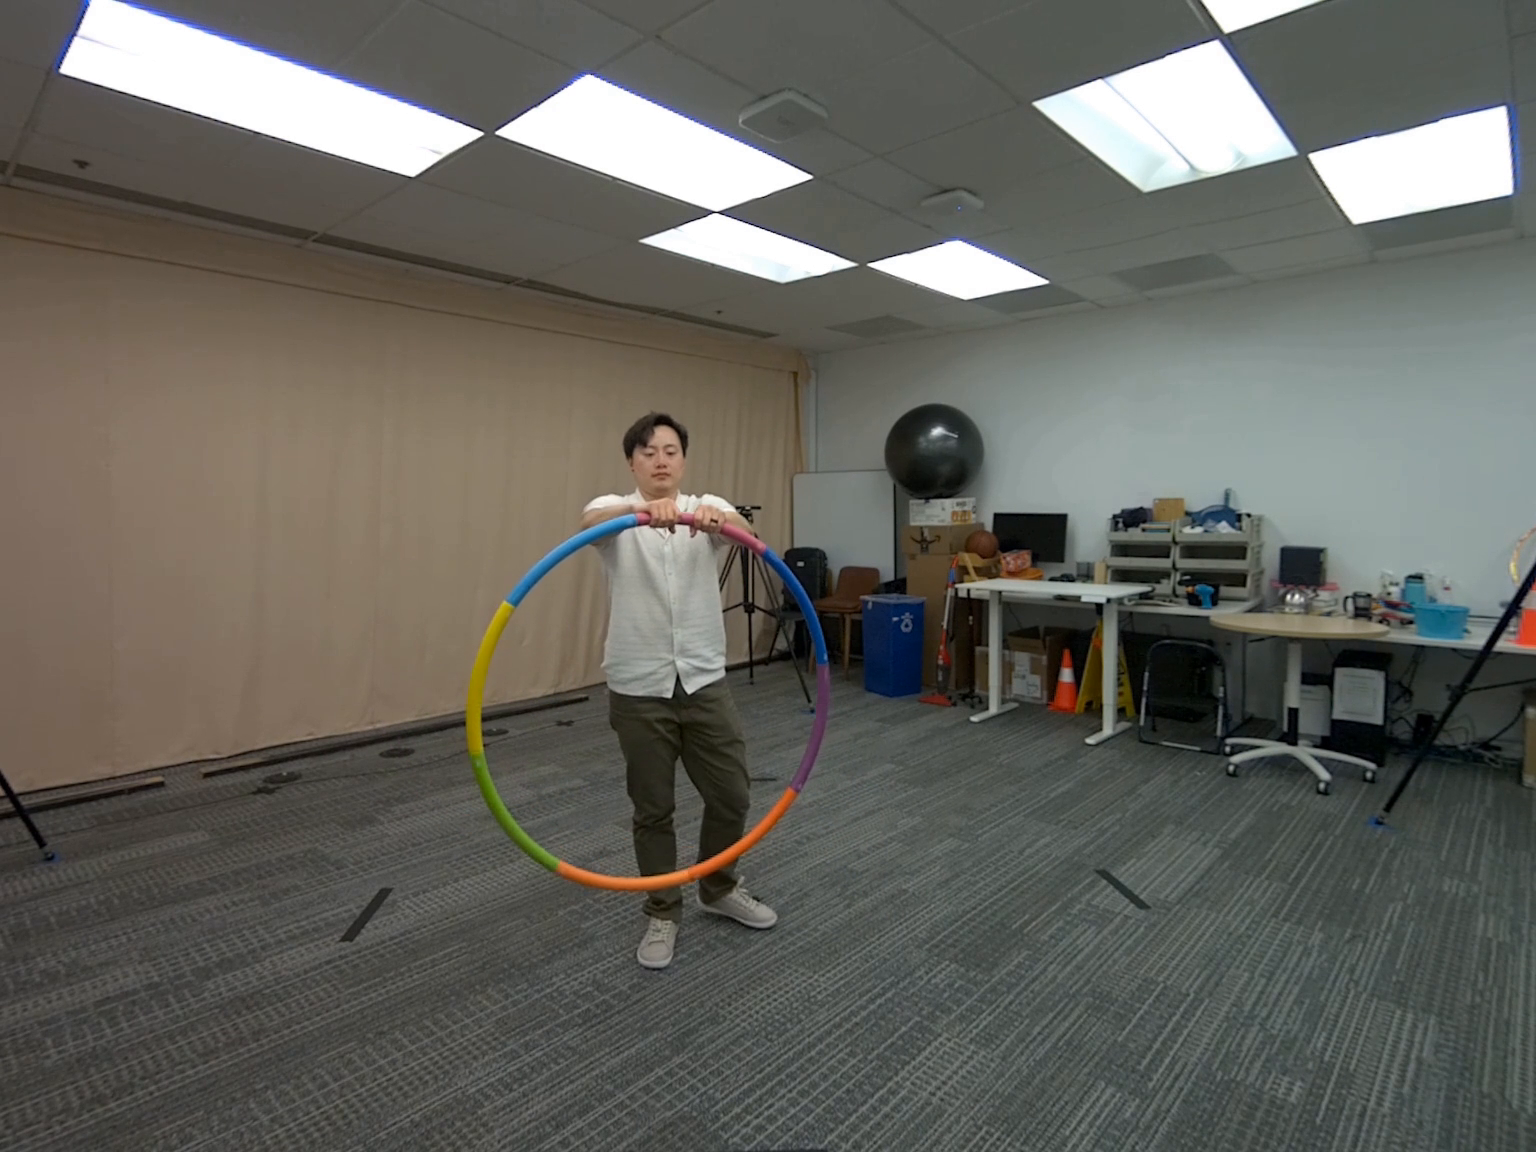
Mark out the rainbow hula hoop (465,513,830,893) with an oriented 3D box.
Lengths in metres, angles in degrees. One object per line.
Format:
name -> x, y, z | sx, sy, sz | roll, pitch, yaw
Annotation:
rainbow hula hoop -> -0.268, 0.334, 2.171 | 0.958, 0.974, 0.036 | -1, 7, -21
